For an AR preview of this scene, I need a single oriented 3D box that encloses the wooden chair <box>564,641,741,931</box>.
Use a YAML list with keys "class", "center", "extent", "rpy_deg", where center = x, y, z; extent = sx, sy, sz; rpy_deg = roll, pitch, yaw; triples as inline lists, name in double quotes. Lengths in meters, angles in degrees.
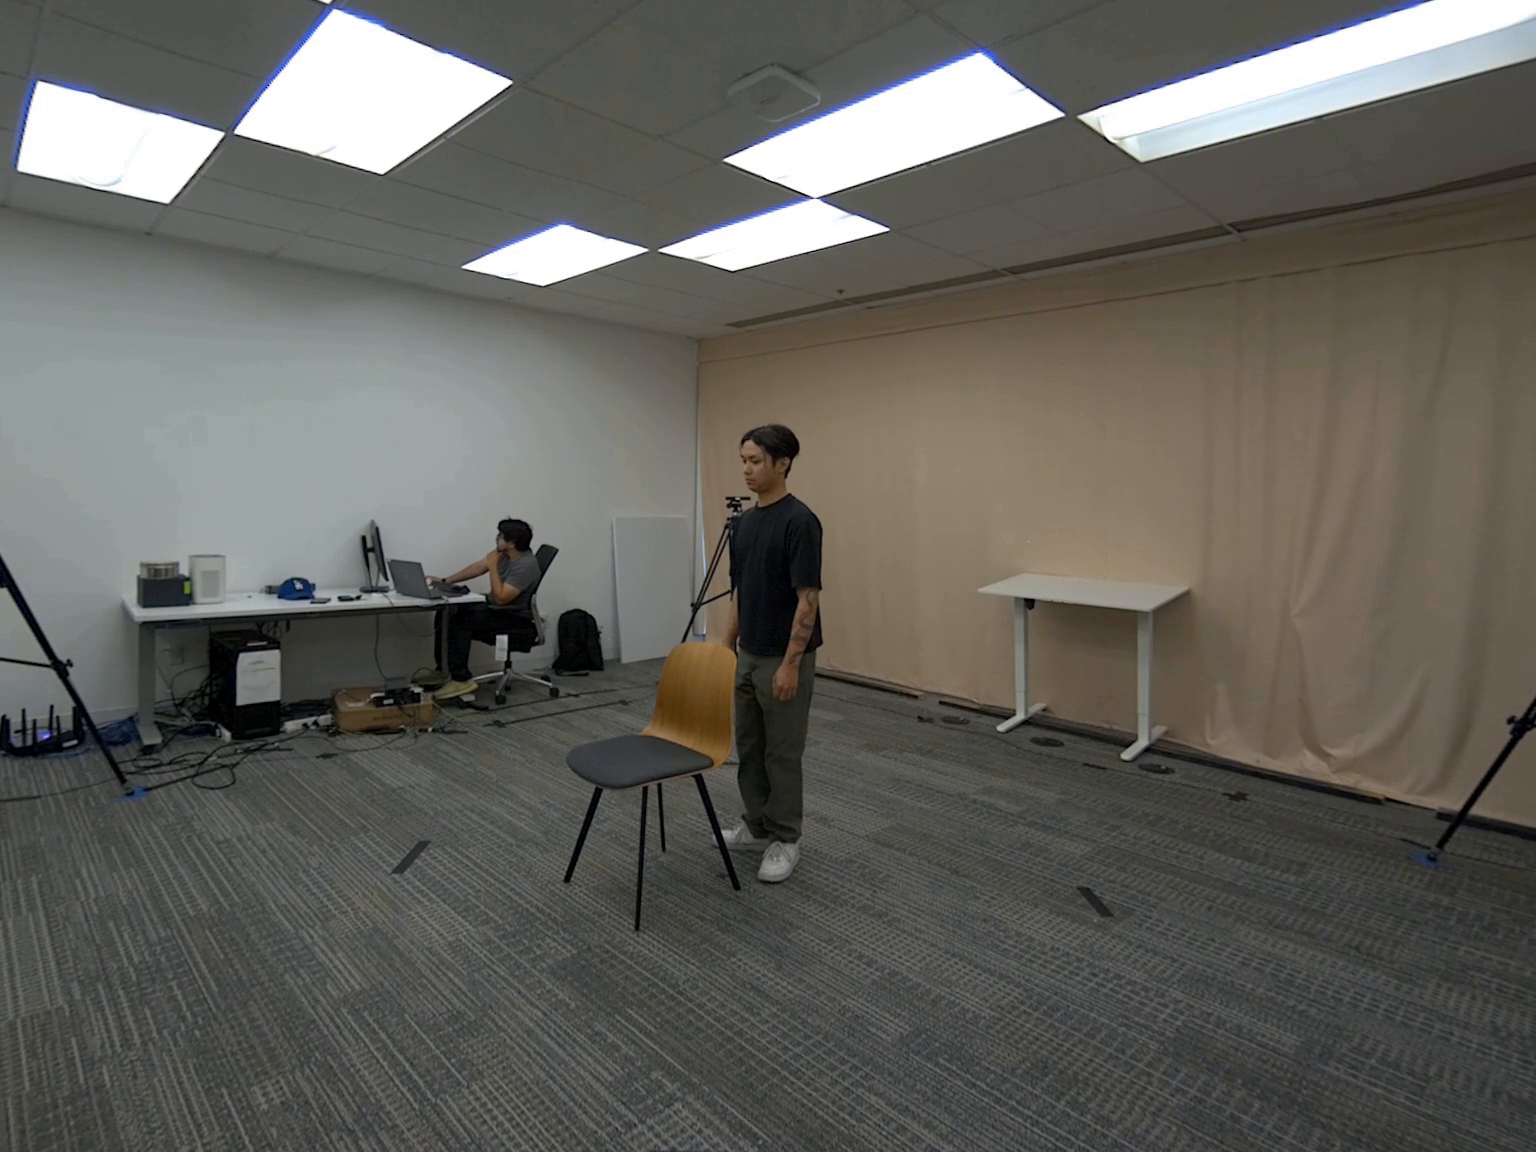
- class: "wooden chair"
  center: [-0.415, 0.687, 2.962]
  extent: [0.510, 0.877, 0.490]
  rpy_deg: [4, 1, -43]
